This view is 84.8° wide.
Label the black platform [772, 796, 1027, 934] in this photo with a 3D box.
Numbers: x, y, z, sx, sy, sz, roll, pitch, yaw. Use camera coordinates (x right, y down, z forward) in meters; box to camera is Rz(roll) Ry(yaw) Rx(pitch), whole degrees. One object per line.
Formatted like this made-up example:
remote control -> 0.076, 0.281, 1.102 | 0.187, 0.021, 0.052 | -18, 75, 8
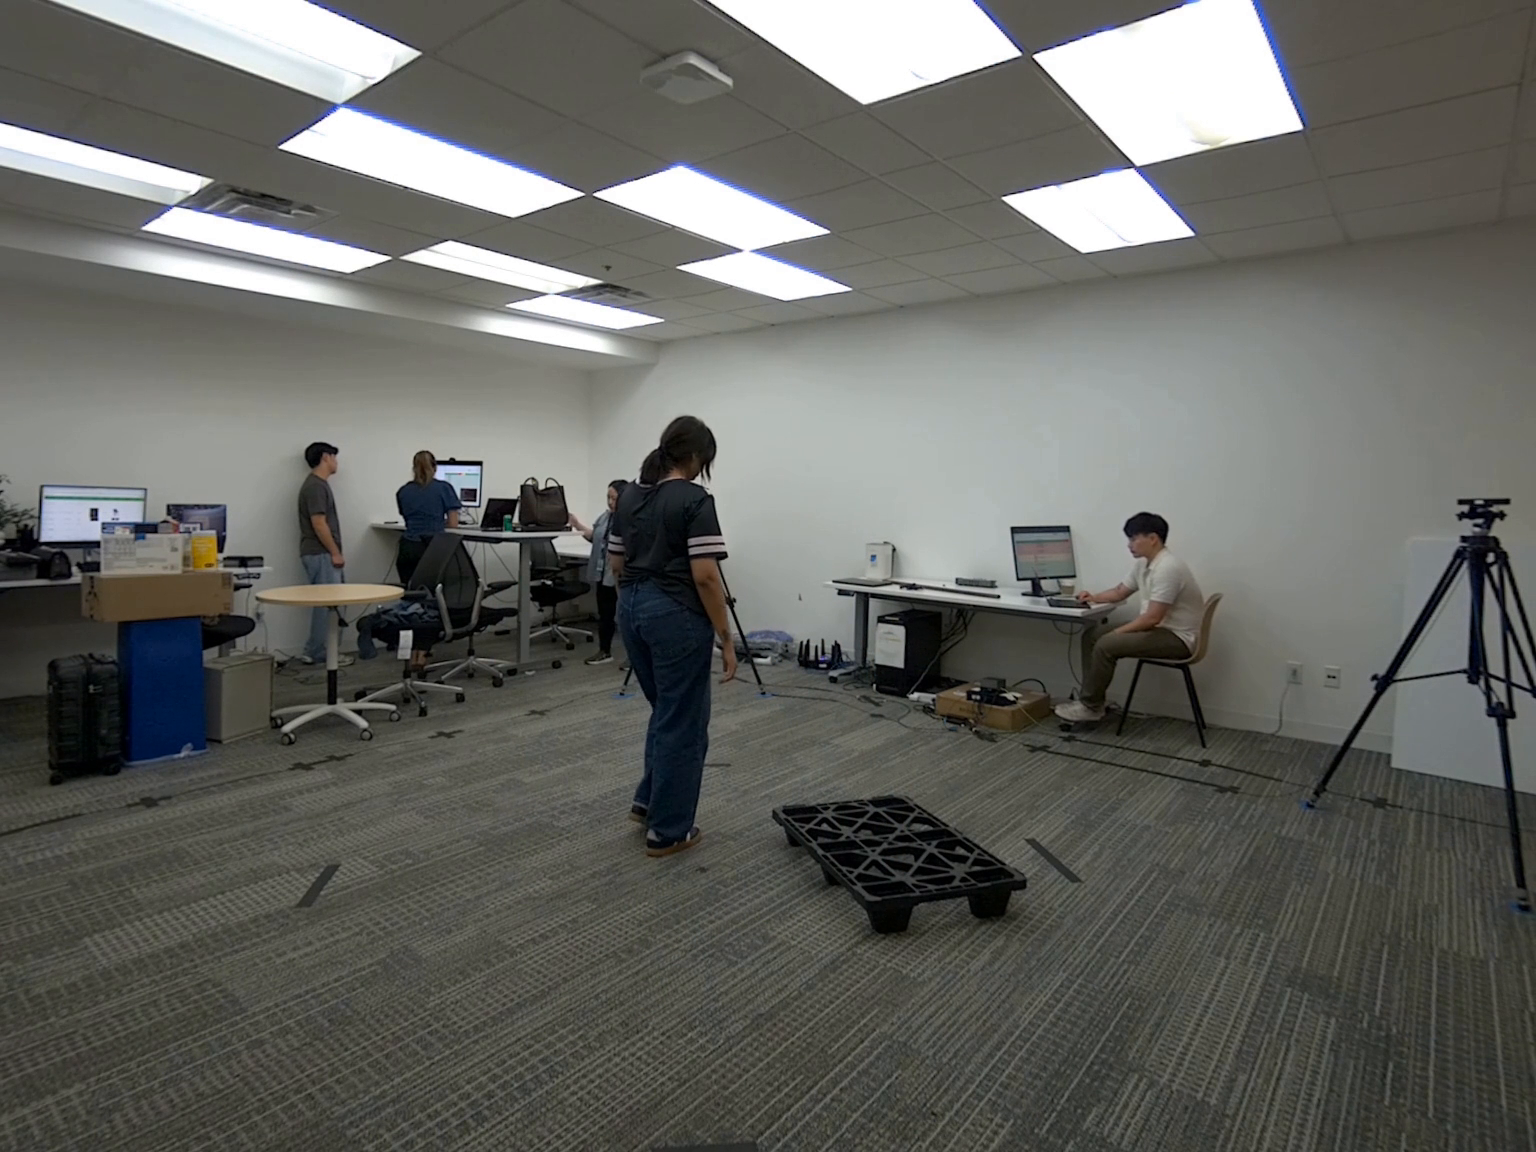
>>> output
black platform -> 0.425, 1.018, 3.086 | 0.593, 0.143, 0.825 | -1, 6, -20
